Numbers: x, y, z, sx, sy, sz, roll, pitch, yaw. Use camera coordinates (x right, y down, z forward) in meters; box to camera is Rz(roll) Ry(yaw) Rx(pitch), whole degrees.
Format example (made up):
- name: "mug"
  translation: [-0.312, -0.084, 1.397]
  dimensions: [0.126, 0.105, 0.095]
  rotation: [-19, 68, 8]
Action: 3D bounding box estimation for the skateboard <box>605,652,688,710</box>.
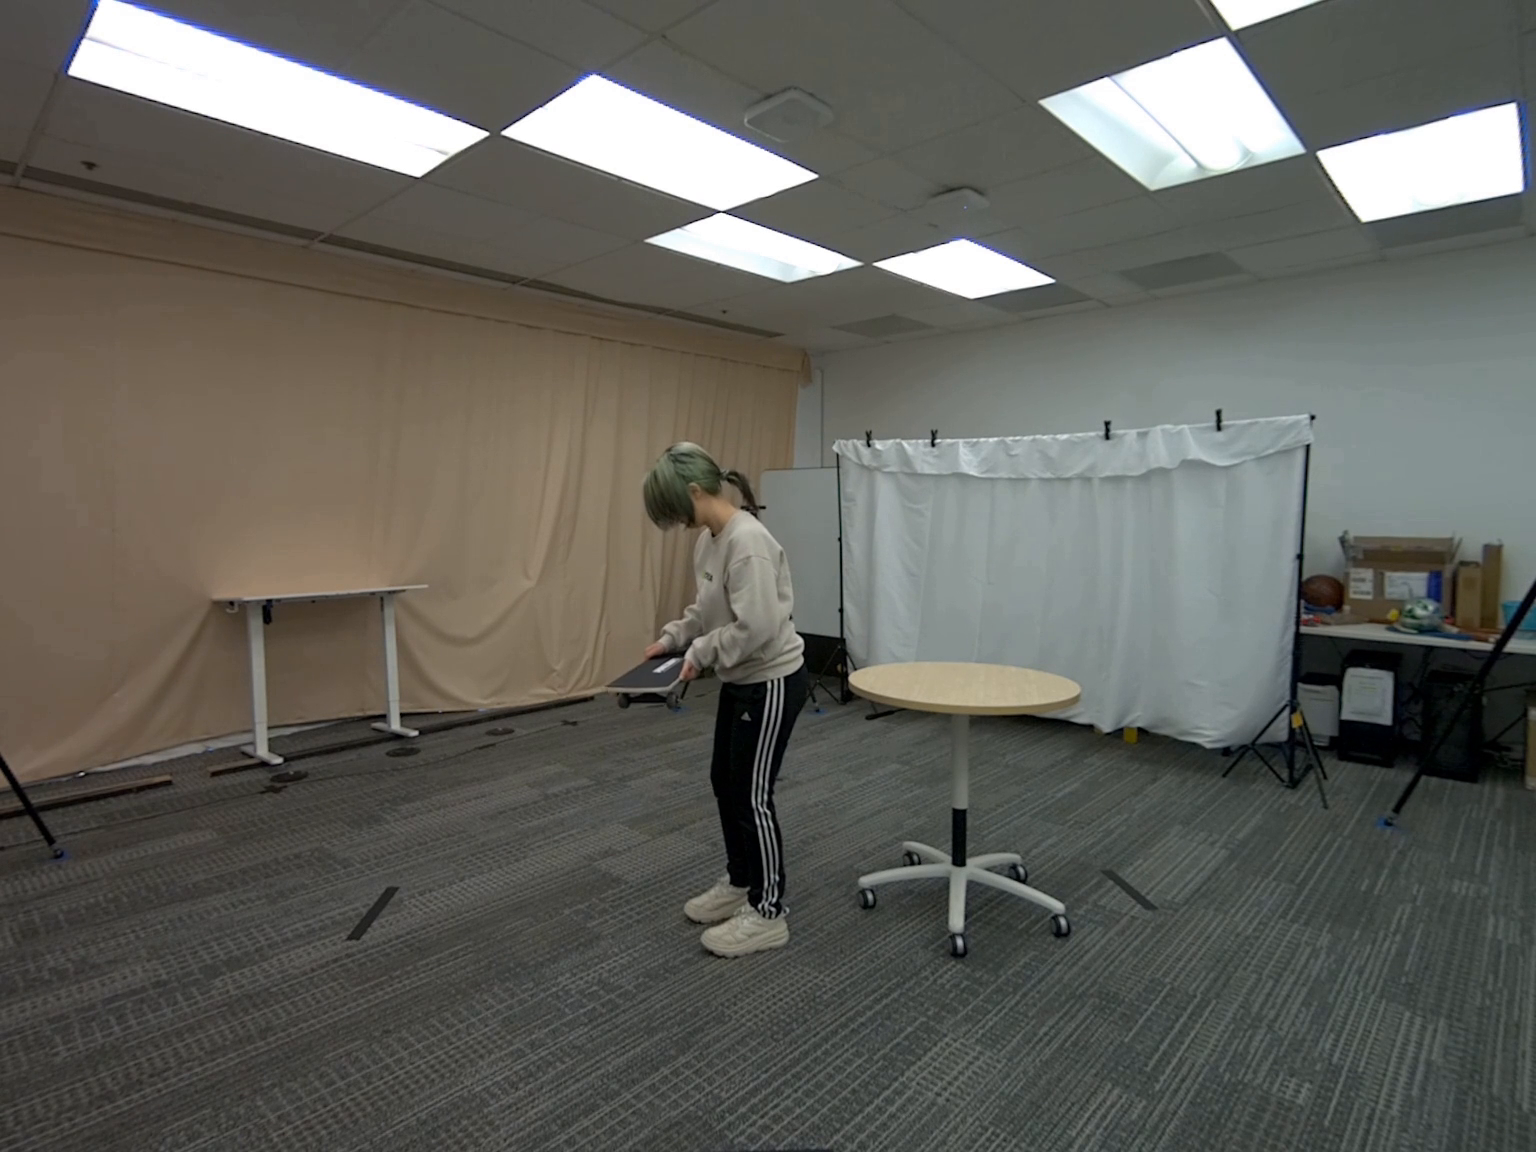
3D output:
- name: "skateboard"
  translation: [-0.325, 0.321, 2.713]
  dimensions: [0.196, 0.110, 0.777]
  rotation: [-4, 6, 11]
